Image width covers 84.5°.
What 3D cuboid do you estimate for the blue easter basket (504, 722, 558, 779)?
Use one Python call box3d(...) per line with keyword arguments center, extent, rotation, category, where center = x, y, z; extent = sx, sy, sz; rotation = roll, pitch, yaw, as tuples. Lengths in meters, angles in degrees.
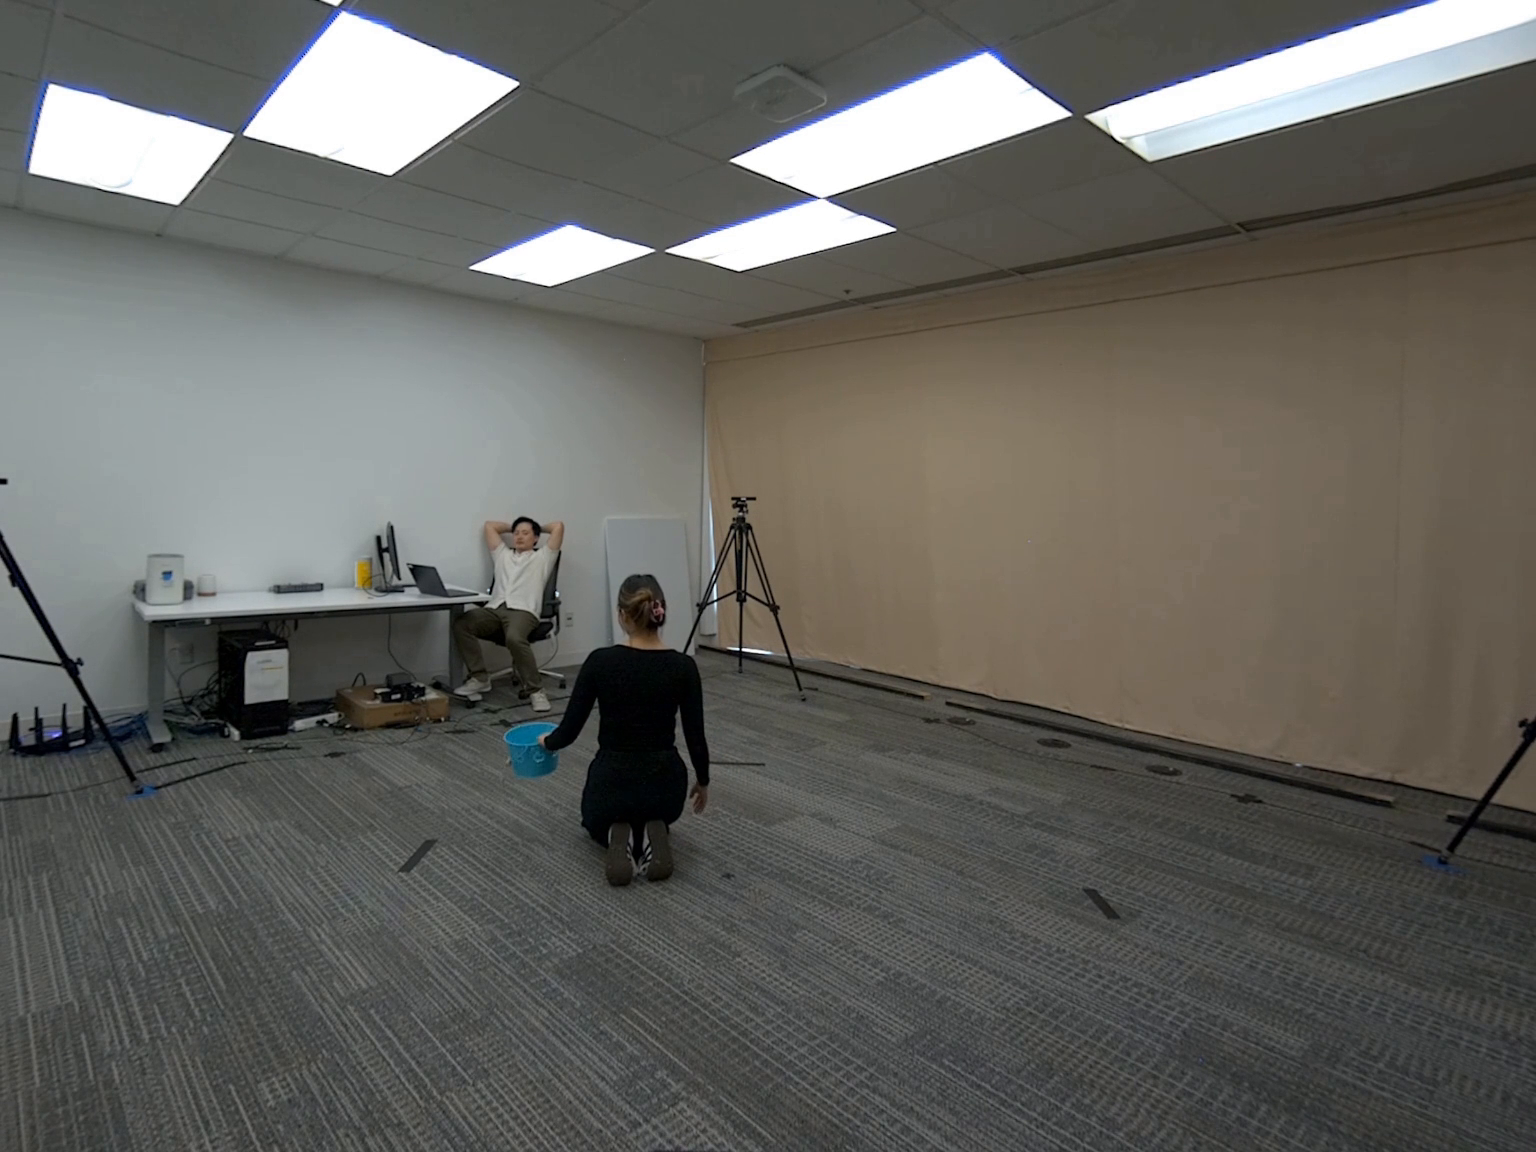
box3d(center=(-0.967, 0.720, 3.459), extent=(0.243, 0.155, 0.245), rotation=(-1, 11, -1), category="blue easter basket")
